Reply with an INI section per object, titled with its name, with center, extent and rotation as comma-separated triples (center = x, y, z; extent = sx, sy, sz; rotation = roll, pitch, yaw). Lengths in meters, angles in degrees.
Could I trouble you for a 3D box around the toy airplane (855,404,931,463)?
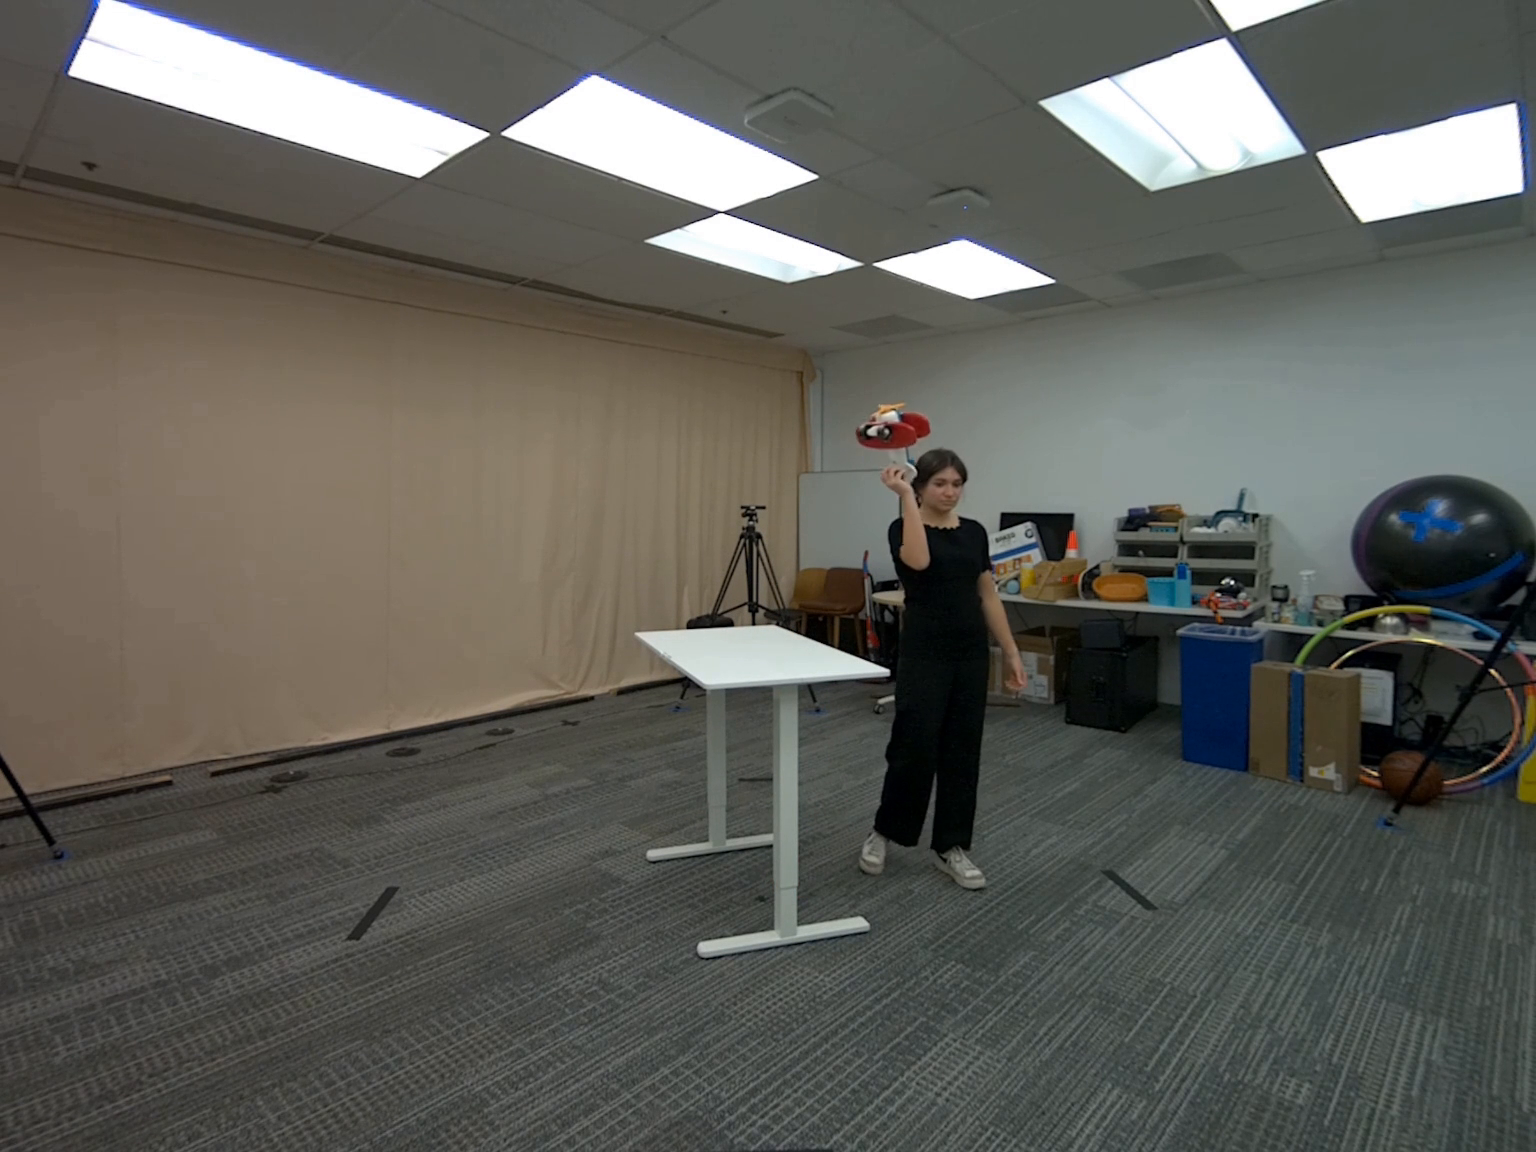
[toy airplane]
center = 0.417, -0.451, 2.887
extent = 0.259, 0.155, 0.253
rotation = 30, -27, 28
